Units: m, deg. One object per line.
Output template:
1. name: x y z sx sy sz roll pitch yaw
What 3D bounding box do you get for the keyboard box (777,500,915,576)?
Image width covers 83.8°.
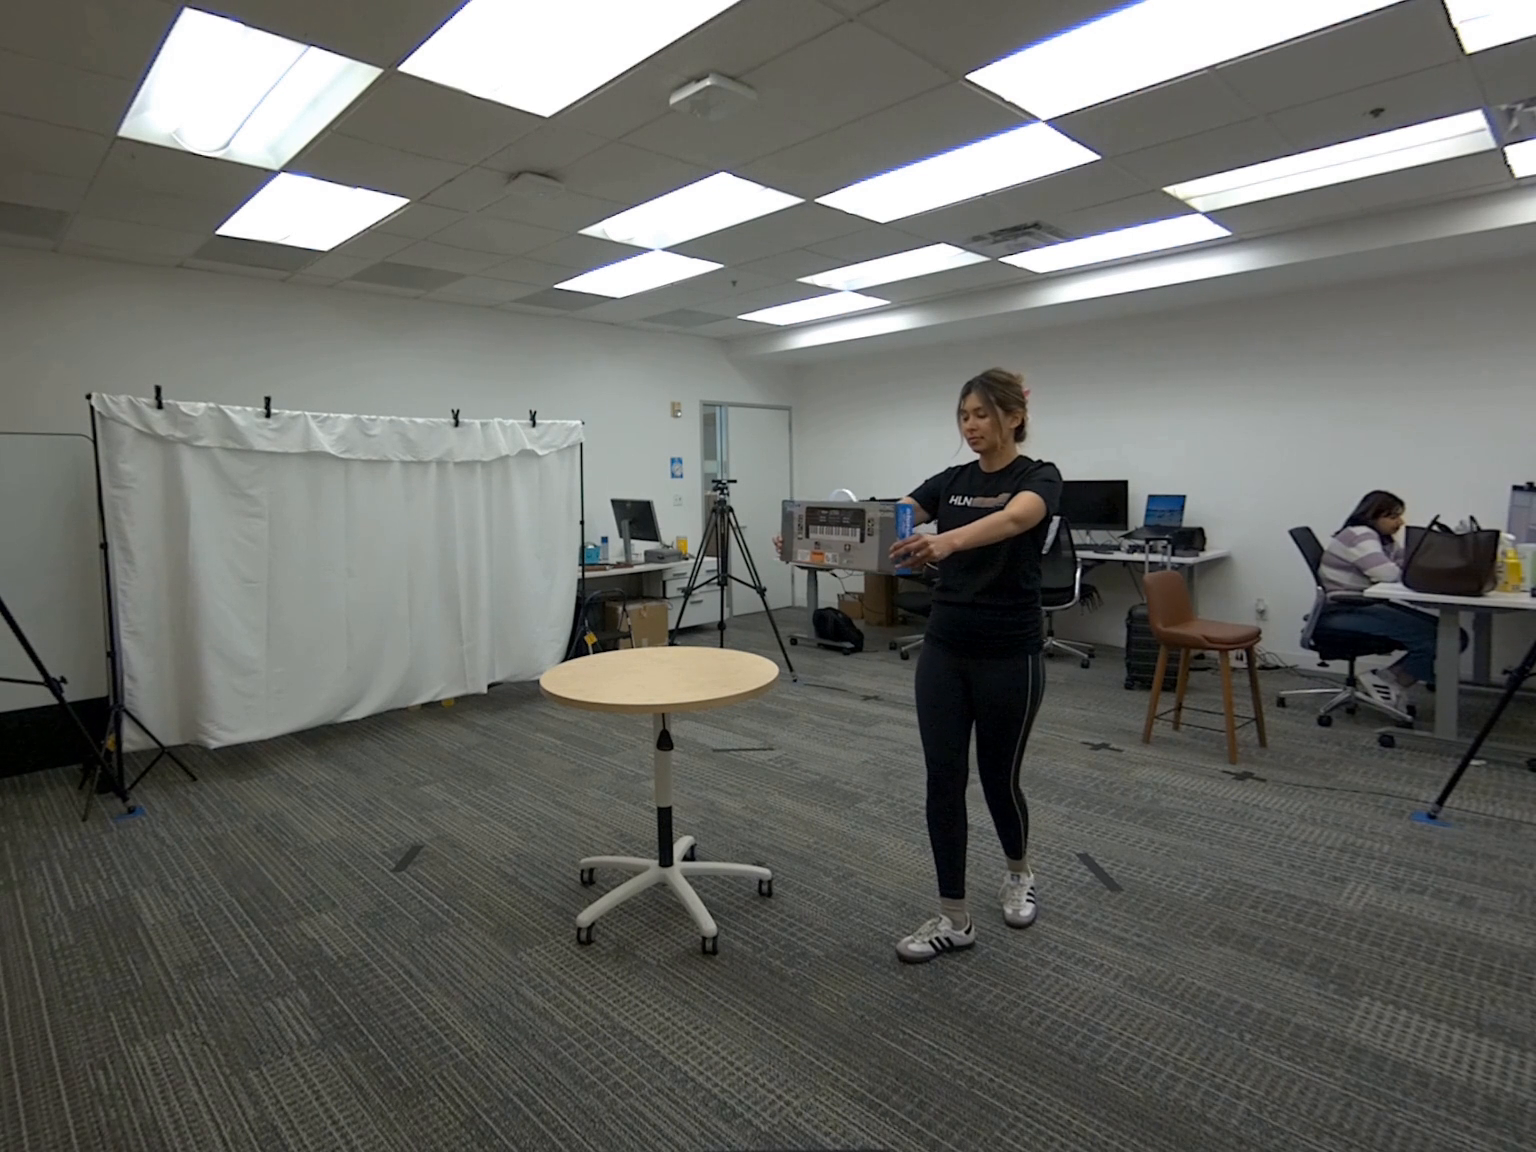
1. keyboard box: 0.199 -0.109 2.221 0.057 0.175 0.450 -2 6 -36
